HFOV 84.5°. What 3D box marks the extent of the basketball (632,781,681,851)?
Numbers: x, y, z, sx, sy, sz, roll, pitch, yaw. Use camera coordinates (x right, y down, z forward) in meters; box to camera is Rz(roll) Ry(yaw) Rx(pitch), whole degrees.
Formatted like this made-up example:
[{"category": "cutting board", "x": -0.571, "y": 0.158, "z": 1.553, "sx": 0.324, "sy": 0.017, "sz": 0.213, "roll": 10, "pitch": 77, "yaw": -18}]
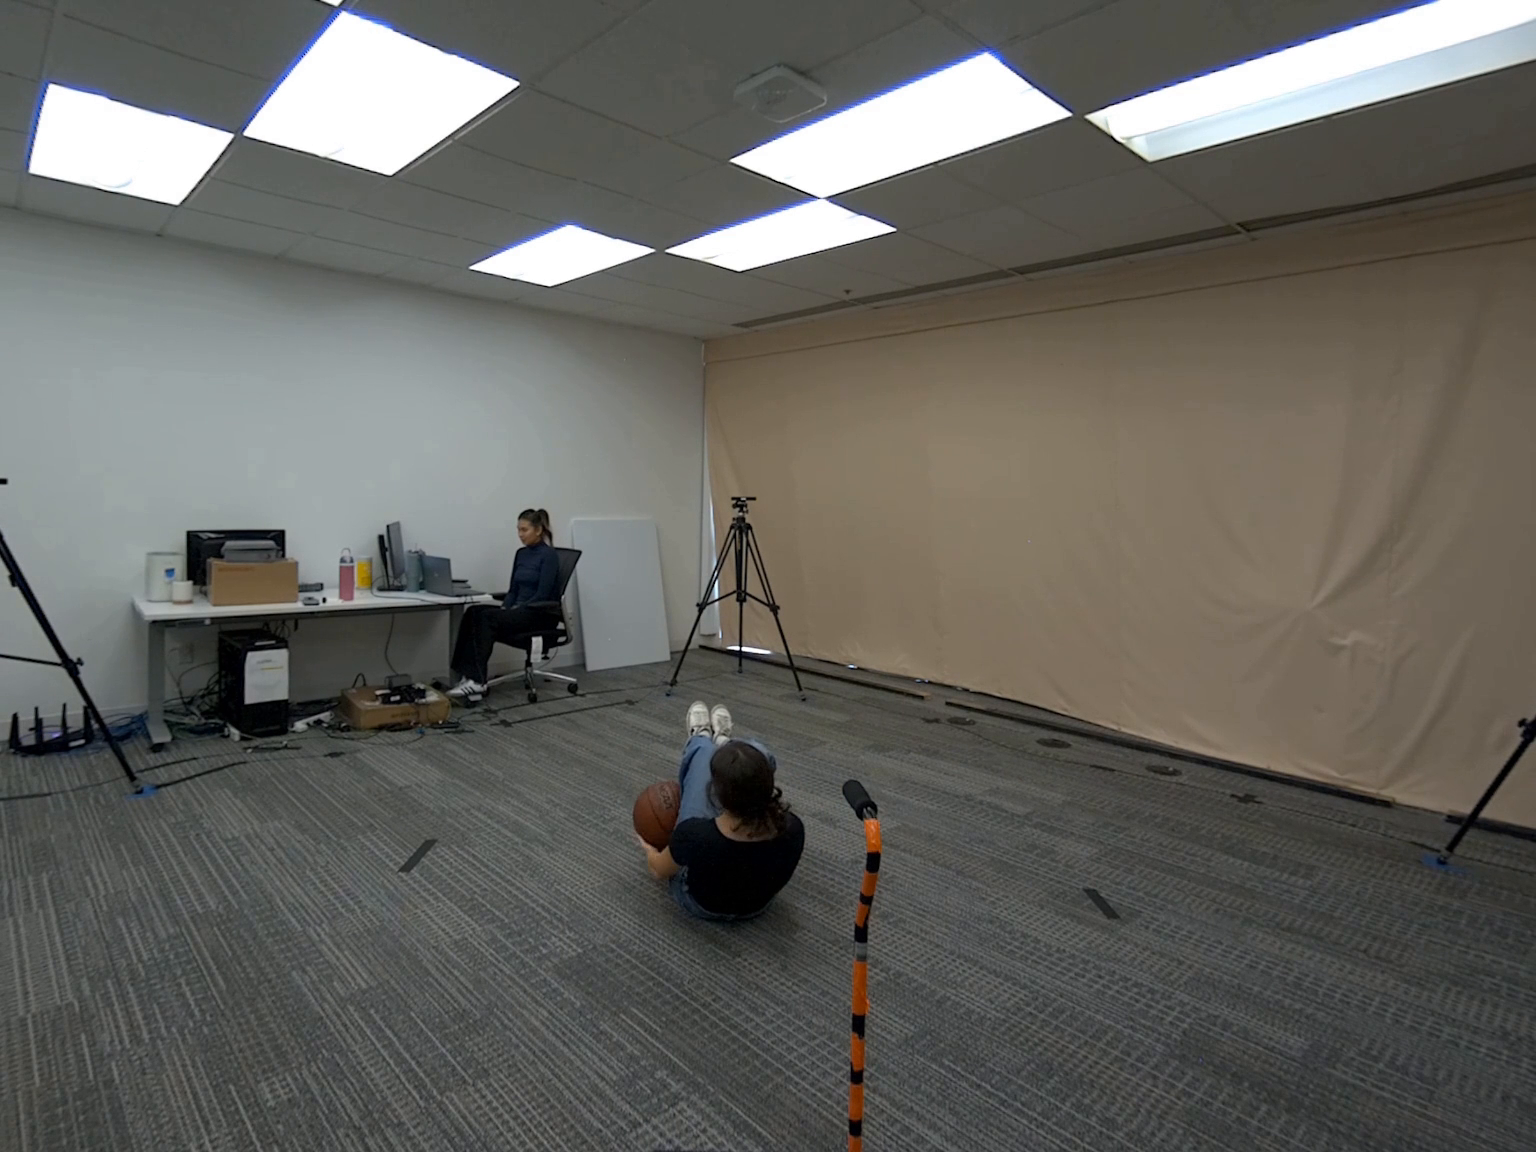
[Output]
[{"category": "basketball", "x": -0.376, "y": 0.865, "z": 3.120, "sx": 0.236, "sy": 0.235, "sz": 0.237, "roll": 1, "pitch": 4, "yaw": -1}]
